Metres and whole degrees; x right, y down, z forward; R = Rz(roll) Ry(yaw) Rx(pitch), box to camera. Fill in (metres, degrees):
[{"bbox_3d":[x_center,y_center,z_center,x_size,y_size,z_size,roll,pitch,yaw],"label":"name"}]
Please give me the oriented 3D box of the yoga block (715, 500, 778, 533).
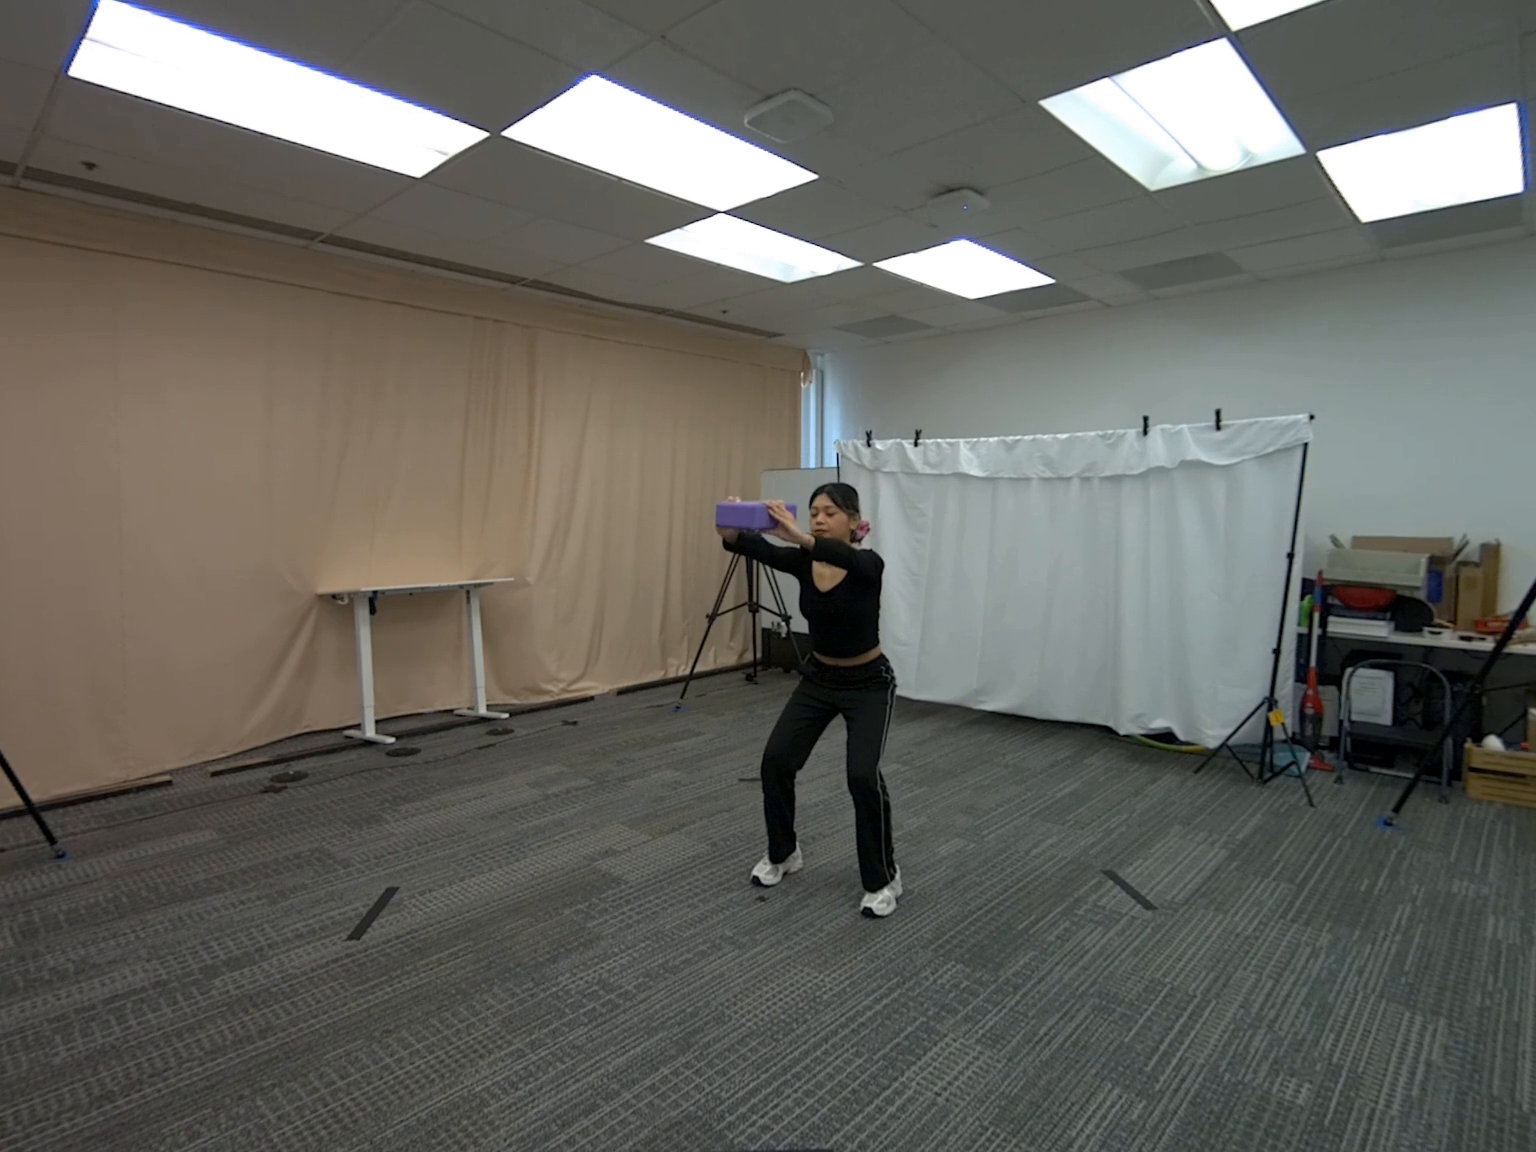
[{"bbox_3d":[-0.026,-0.182,2.515,0.153,0.076,0.223,5,7,28],"label":"yoga block"}]
